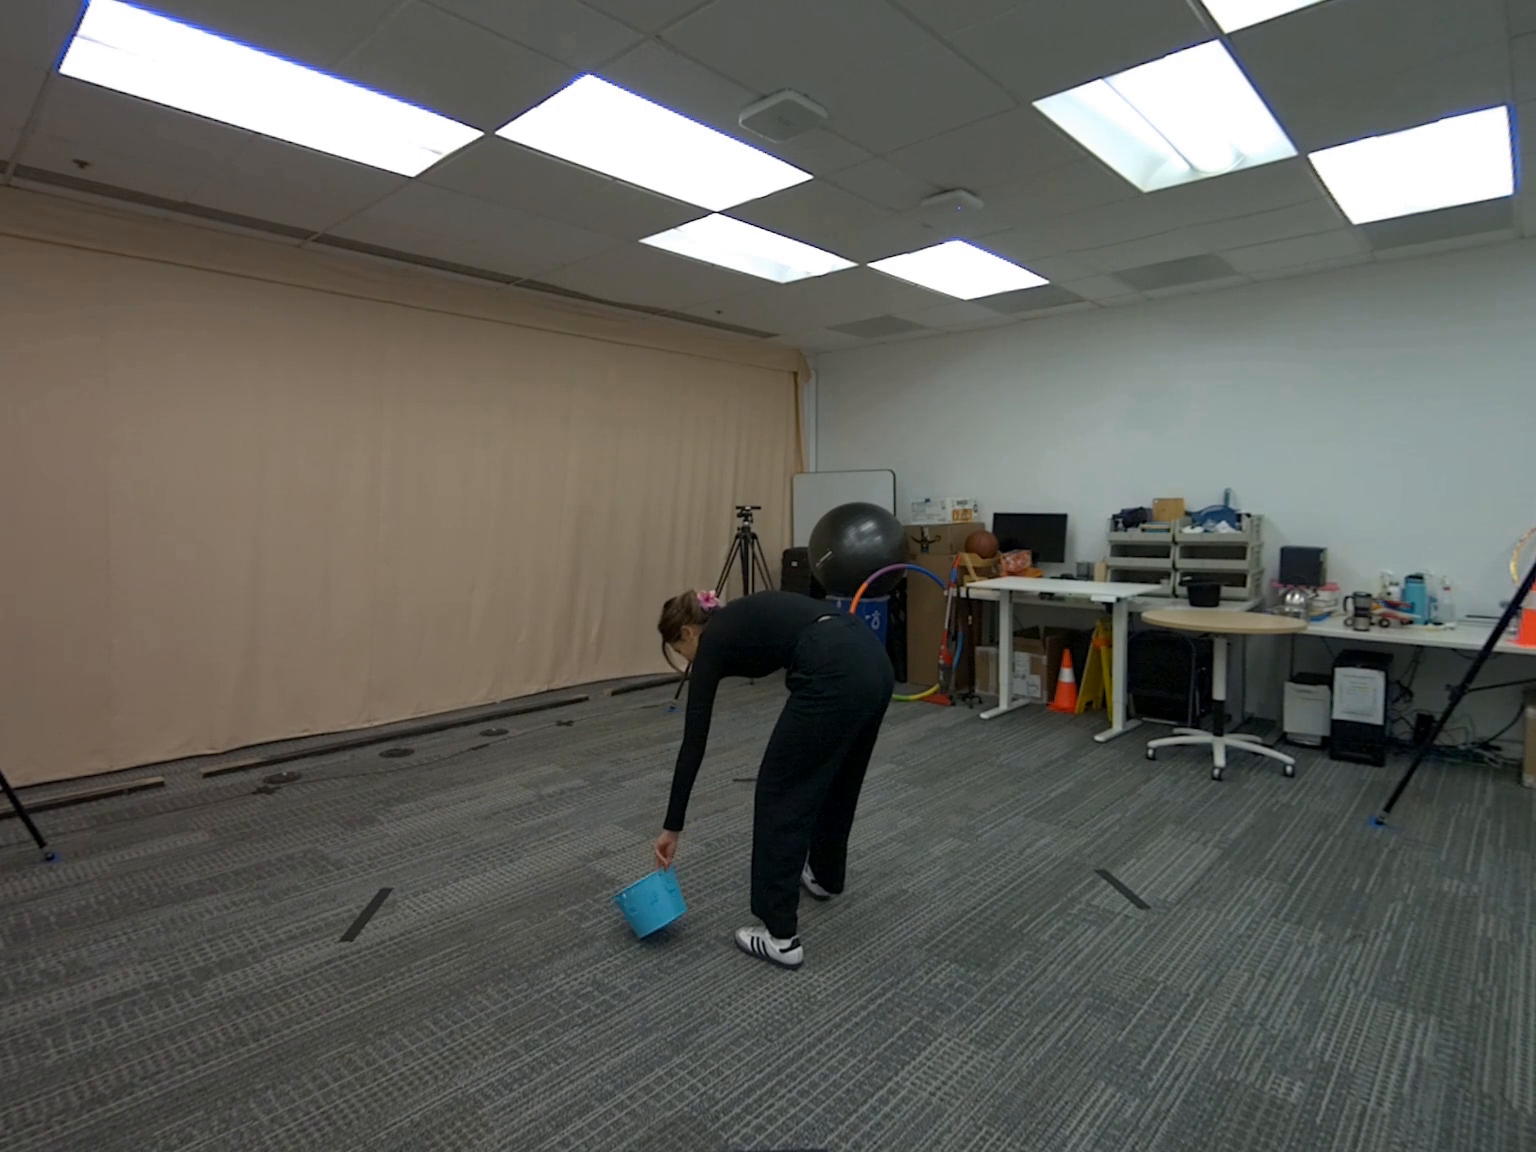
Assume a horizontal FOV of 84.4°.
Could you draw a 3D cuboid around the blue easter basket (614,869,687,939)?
[{"bbox_3d":[-0.366,1.060,2.730,0.242,0.158,0.241,-27,-14,-9],"label":"blue easter basket"}]
